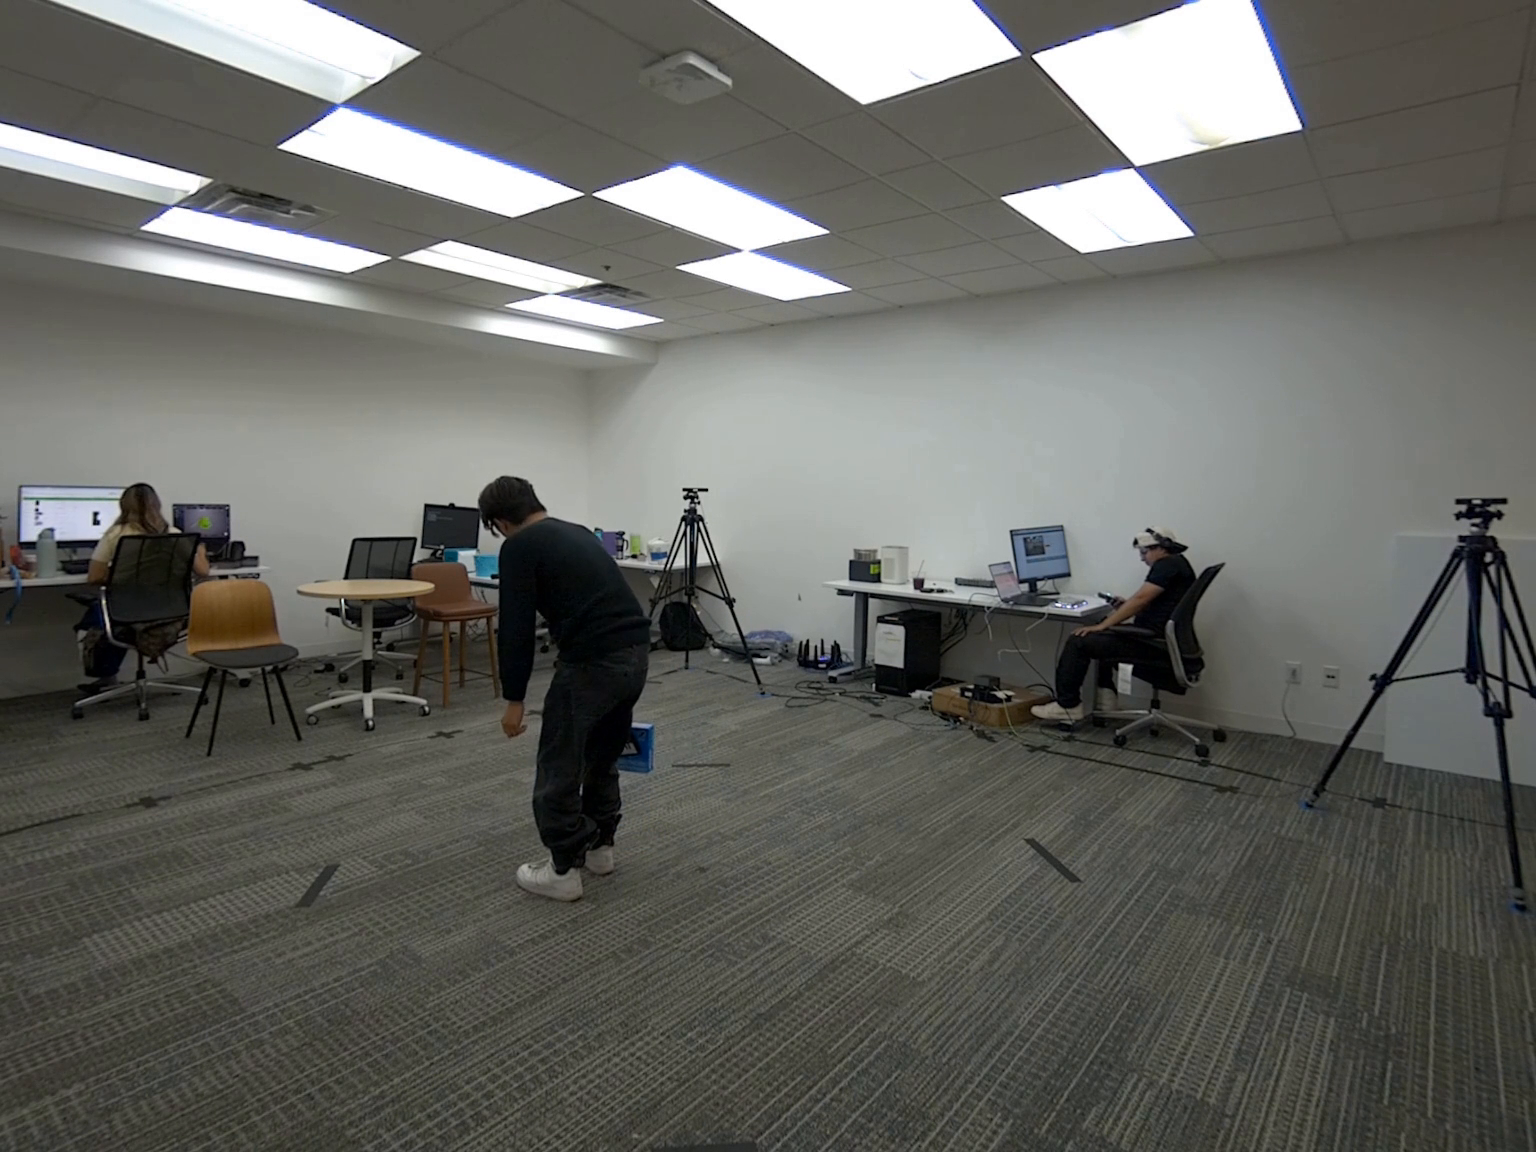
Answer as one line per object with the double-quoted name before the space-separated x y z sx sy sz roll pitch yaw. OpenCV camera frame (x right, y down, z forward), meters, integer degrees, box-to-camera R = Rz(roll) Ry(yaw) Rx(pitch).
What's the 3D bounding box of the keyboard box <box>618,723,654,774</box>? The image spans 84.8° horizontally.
"keyboard box" -0.664 0.640 3.260 0.444 0.175 0.058 3 2 15
